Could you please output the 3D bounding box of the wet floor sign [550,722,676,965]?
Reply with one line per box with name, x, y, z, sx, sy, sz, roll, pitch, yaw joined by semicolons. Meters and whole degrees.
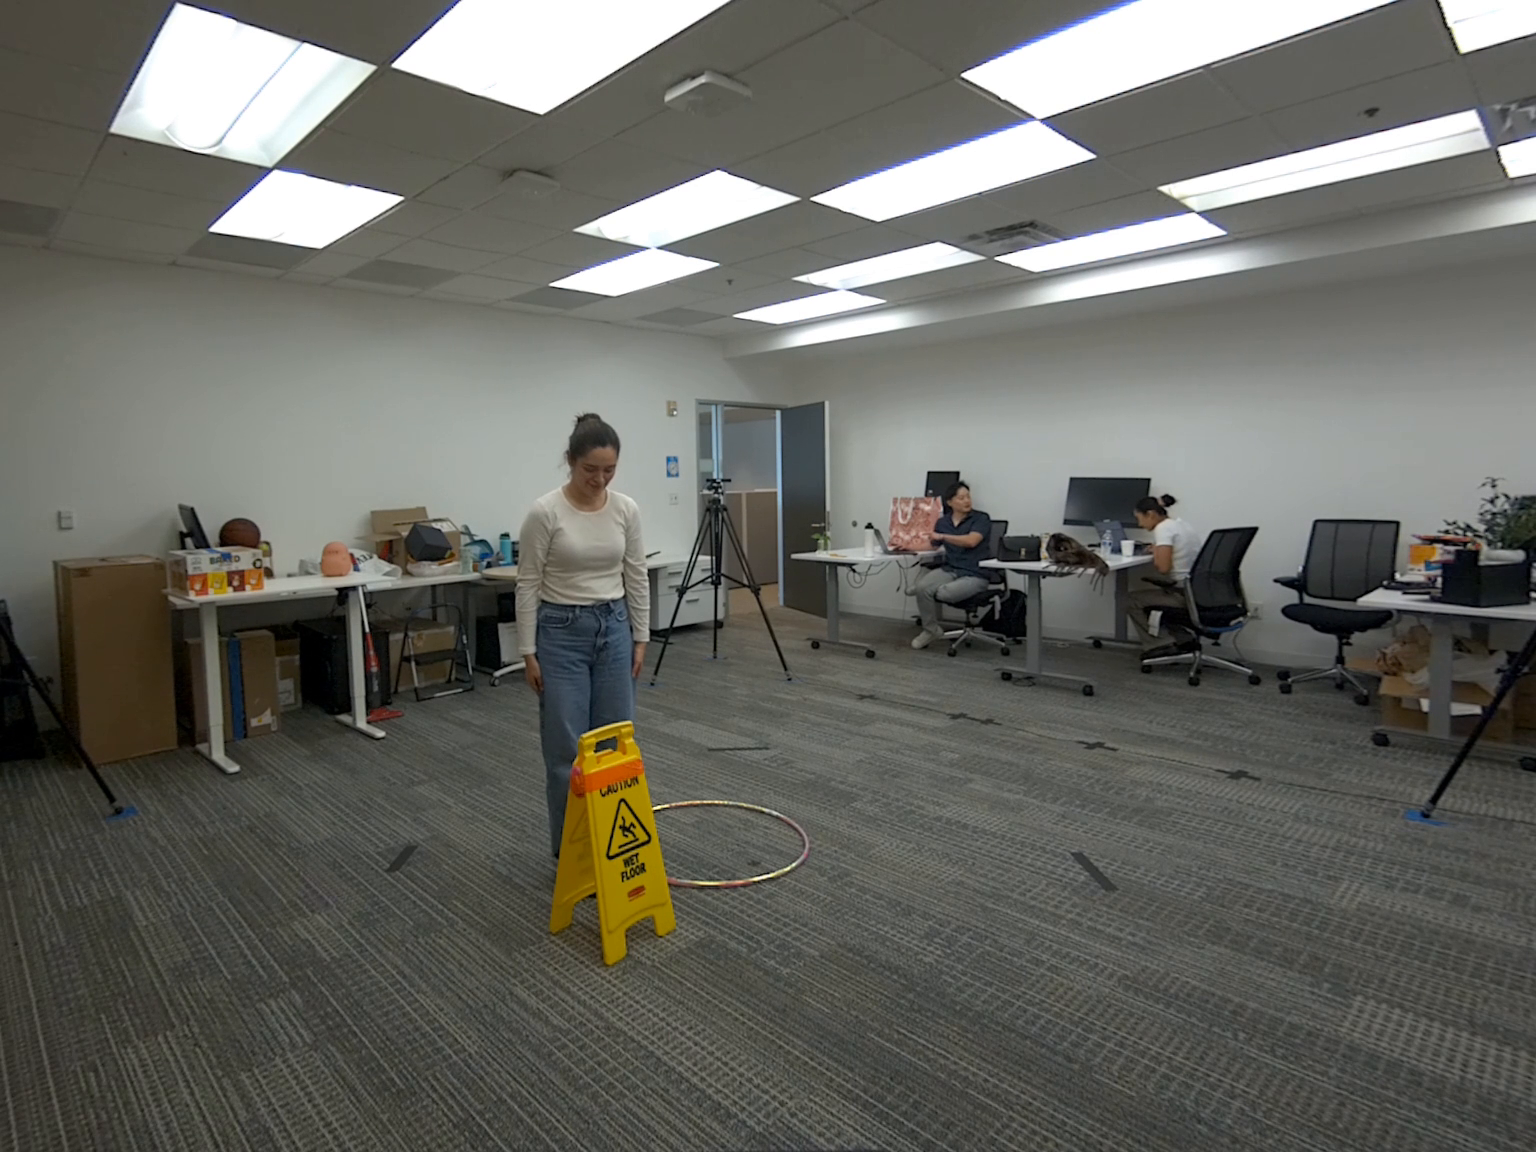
wet floor sign;-0.483;0.781;2.643;0.298;0.643;0.275;3;6;41
